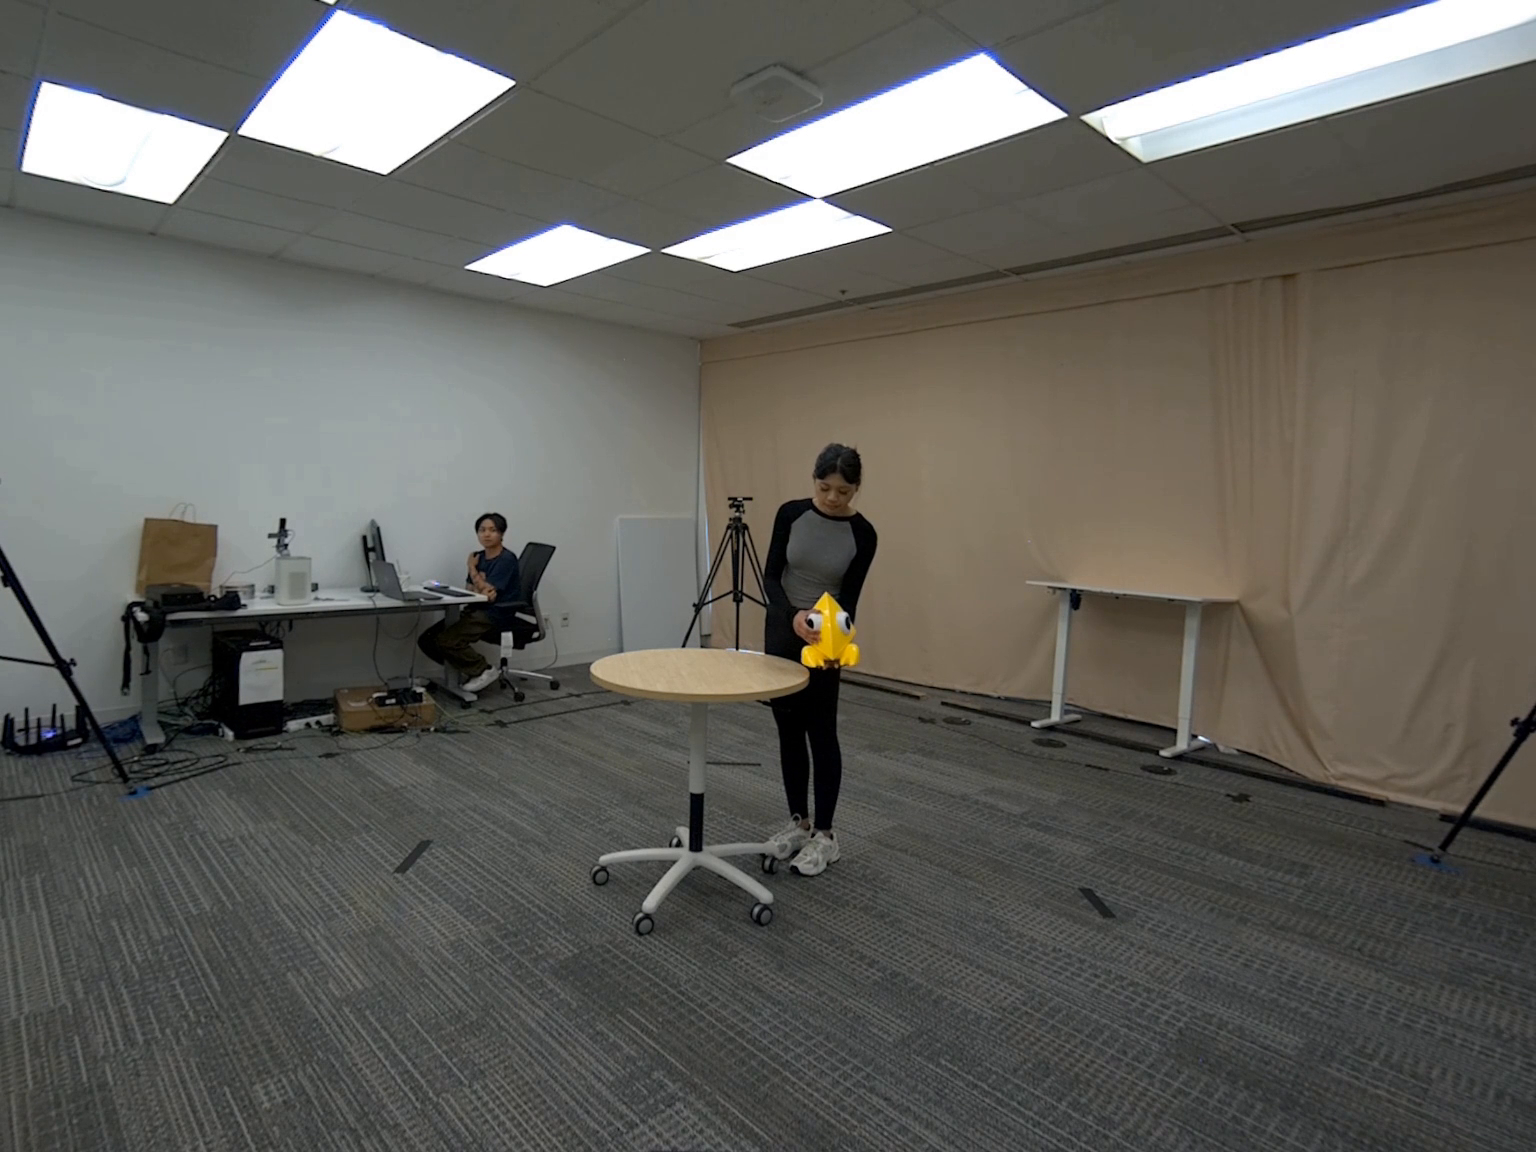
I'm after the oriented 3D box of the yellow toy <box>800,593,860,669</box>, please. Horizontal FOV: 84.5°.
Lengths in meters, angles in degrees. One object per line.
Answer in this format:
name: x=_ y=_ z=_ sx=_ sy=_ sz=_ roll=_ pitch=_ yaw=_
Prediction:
yellow toy: x=0.201 y=0.180 z=2.906 sx=0.205 sy=0.230 sz=0.194 roll=-3 pitch=6 yaw=0
